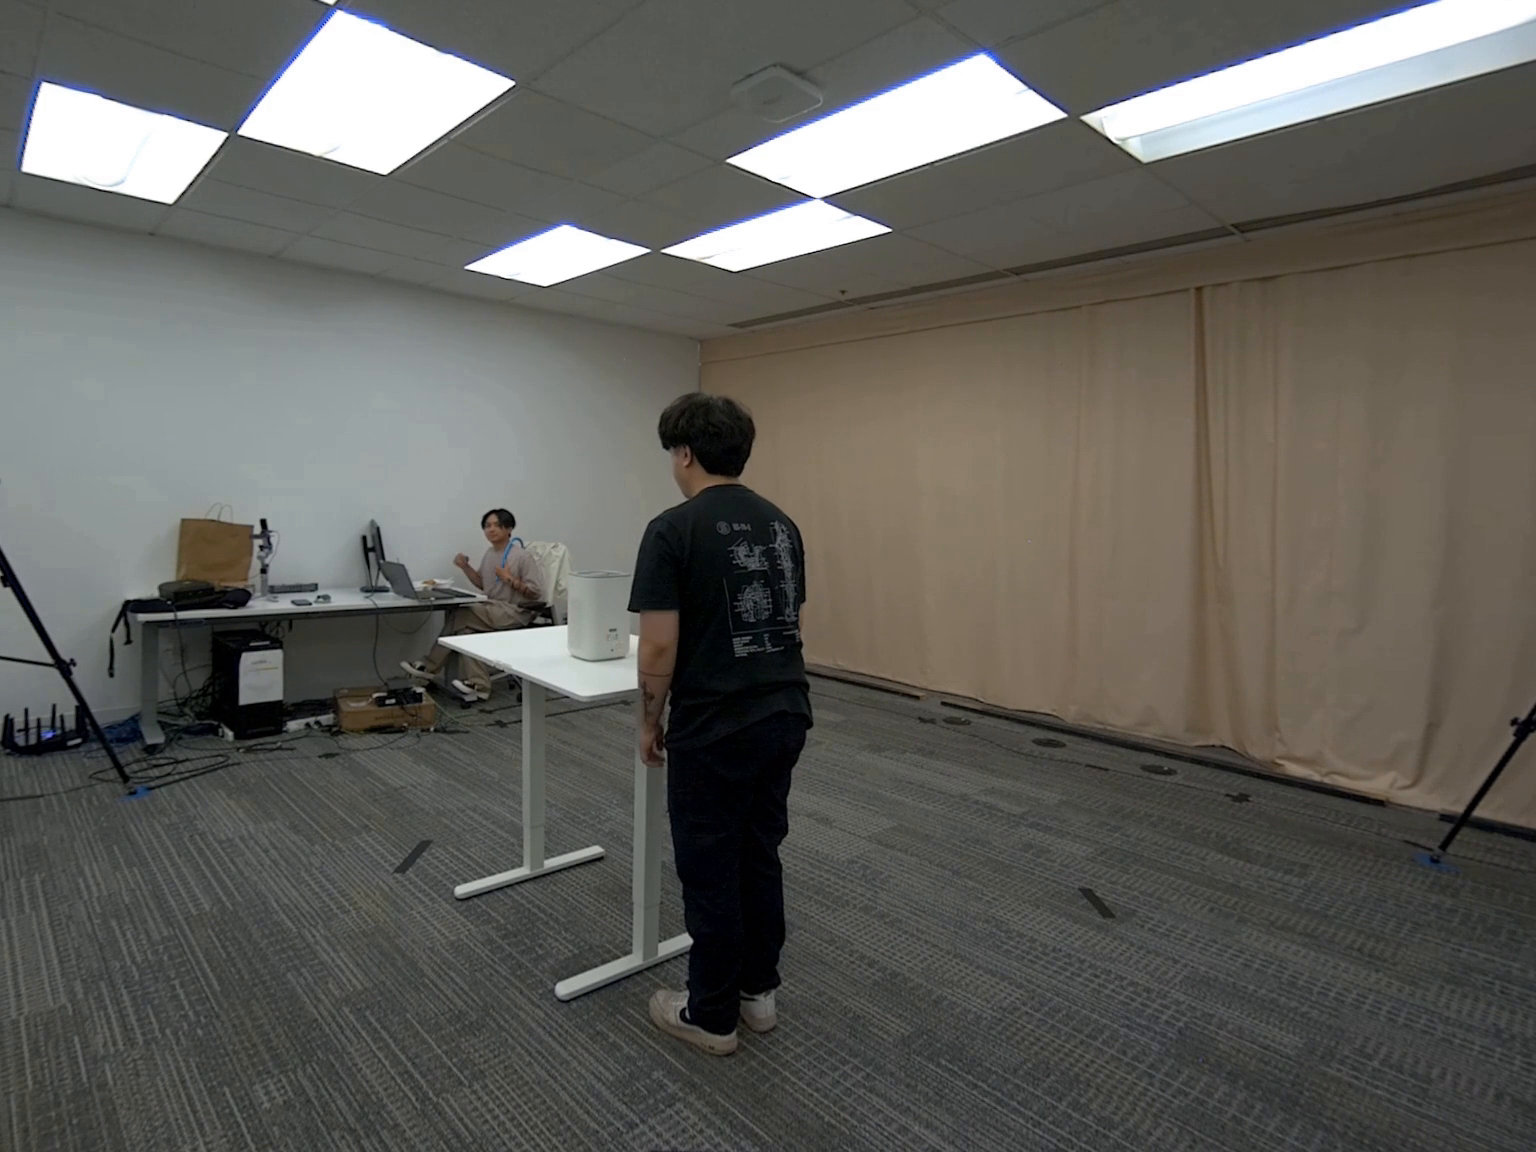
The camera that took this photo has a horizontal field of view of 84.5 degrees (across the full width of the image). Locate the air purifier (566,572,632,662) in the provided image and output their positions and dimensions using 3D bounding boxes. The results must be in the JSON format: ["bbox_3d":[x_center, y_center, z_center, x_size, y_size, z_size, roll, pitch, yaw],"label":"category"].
[{"bbox_3d":[-0.537,0.121,2.658,0.167,0.264,0.176,-3,6,-42],"label":"air purifier"}]
